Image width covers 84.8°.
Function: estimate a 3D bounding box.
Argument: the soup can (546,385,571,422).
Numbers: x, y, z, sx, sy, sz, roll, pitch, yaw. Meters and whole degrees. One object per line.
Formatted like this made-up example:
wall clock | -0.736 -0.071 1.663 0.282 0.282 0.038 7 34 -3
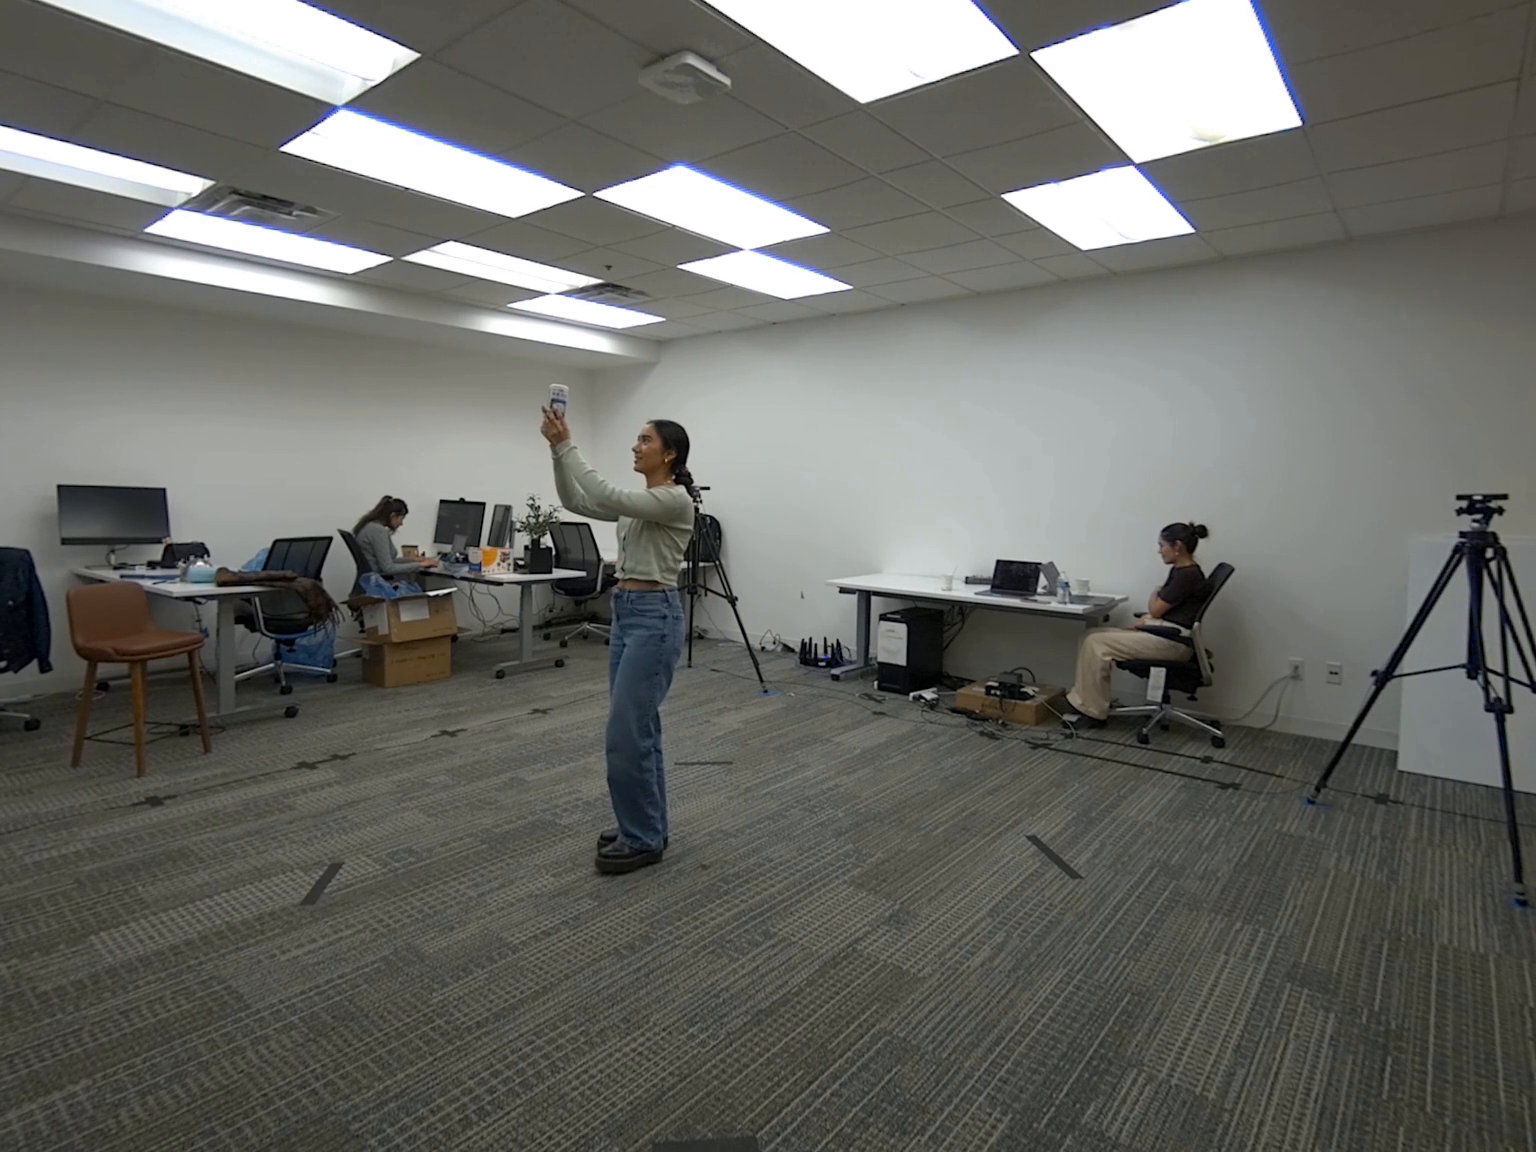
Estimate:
soup can | -0.765 -0.626 3.059 0.067 0.121 0.067 4 1 -2
